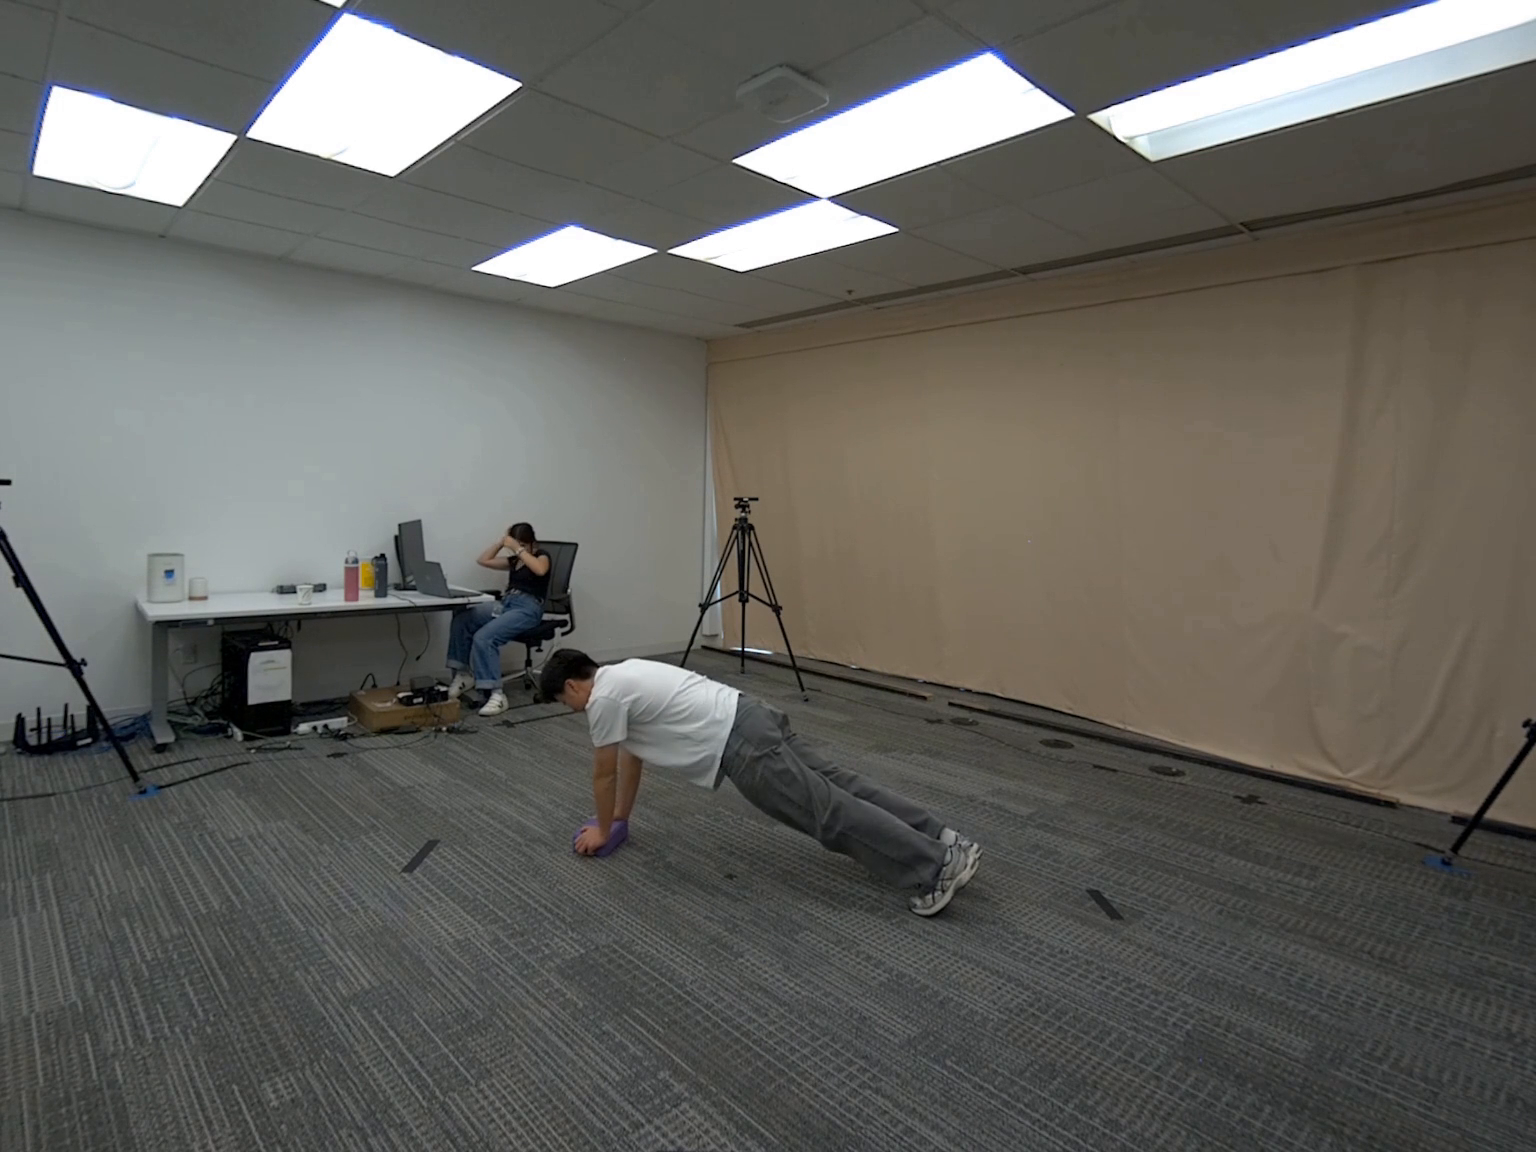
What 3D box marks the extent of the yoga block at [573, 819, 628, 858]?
[{"bbox_3d":[-0.670,1.031,3.371,0.151,0.076,0.227,2,5,14],"label":"yoga block"}]
